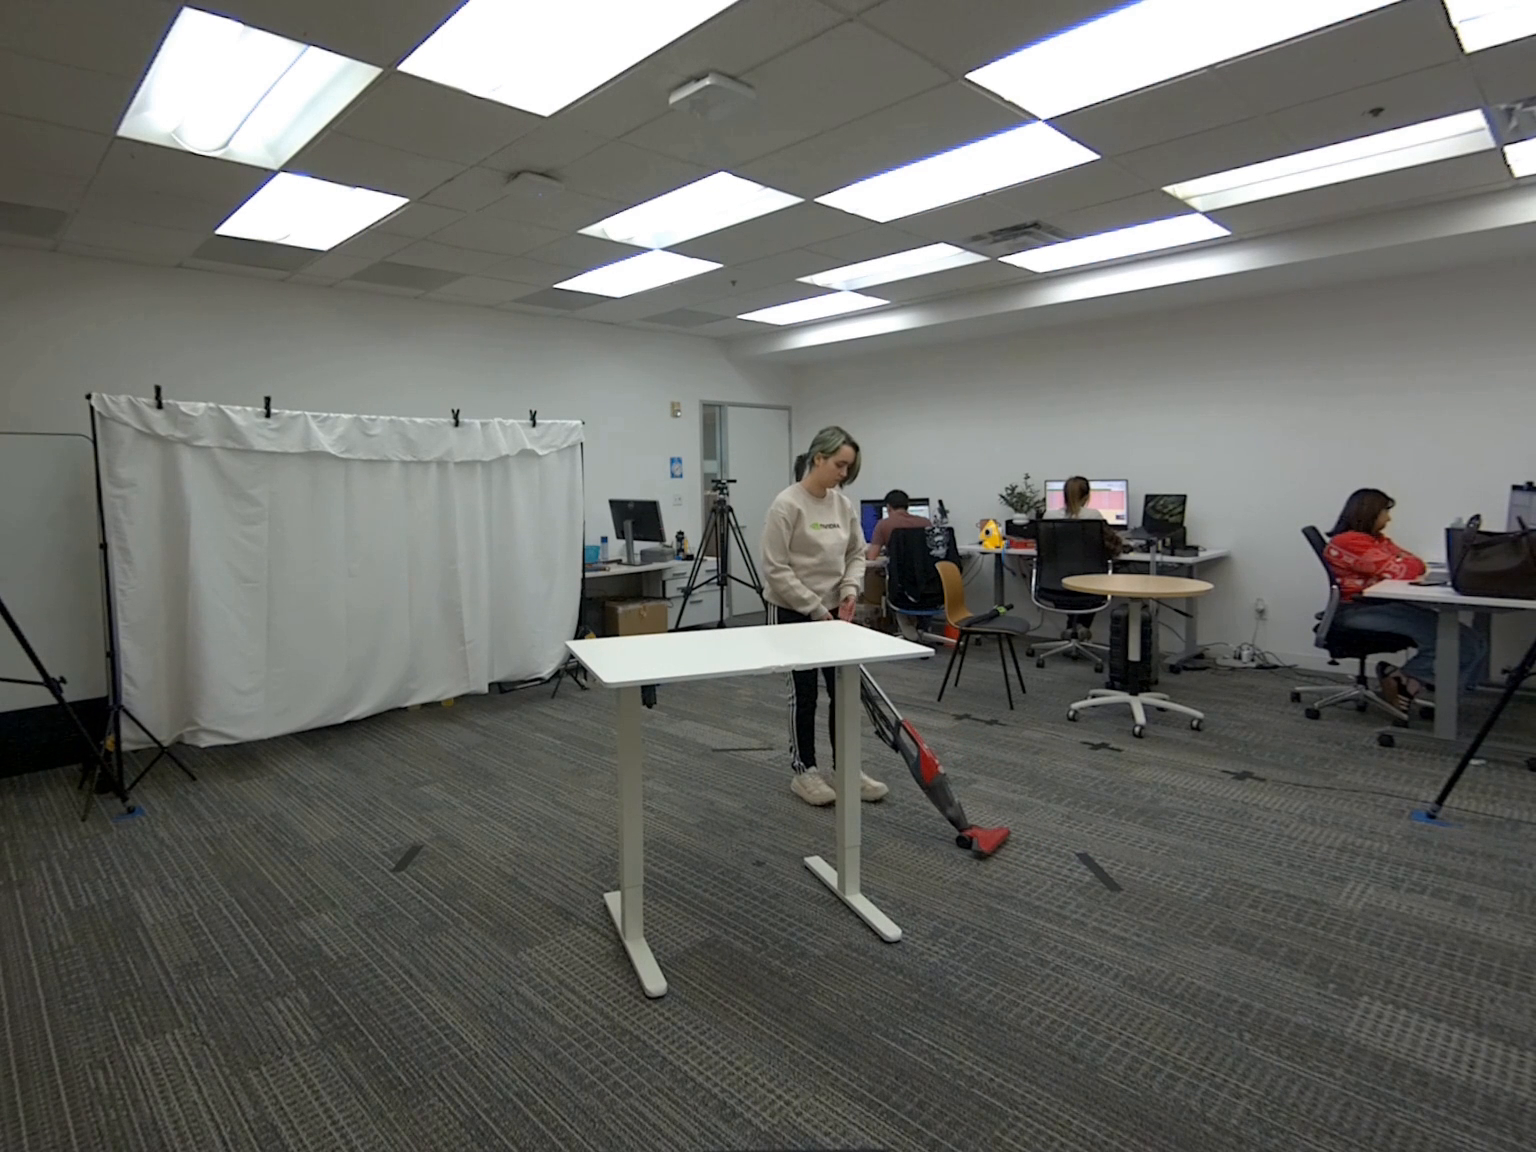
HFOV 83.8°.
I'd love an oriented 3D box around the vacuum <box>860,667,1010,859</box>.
[{"bbox_3d":[0.528,0.614,3.422,0.144,1.080,0.245,-48,-26,25],"label":"vacuum"}]
